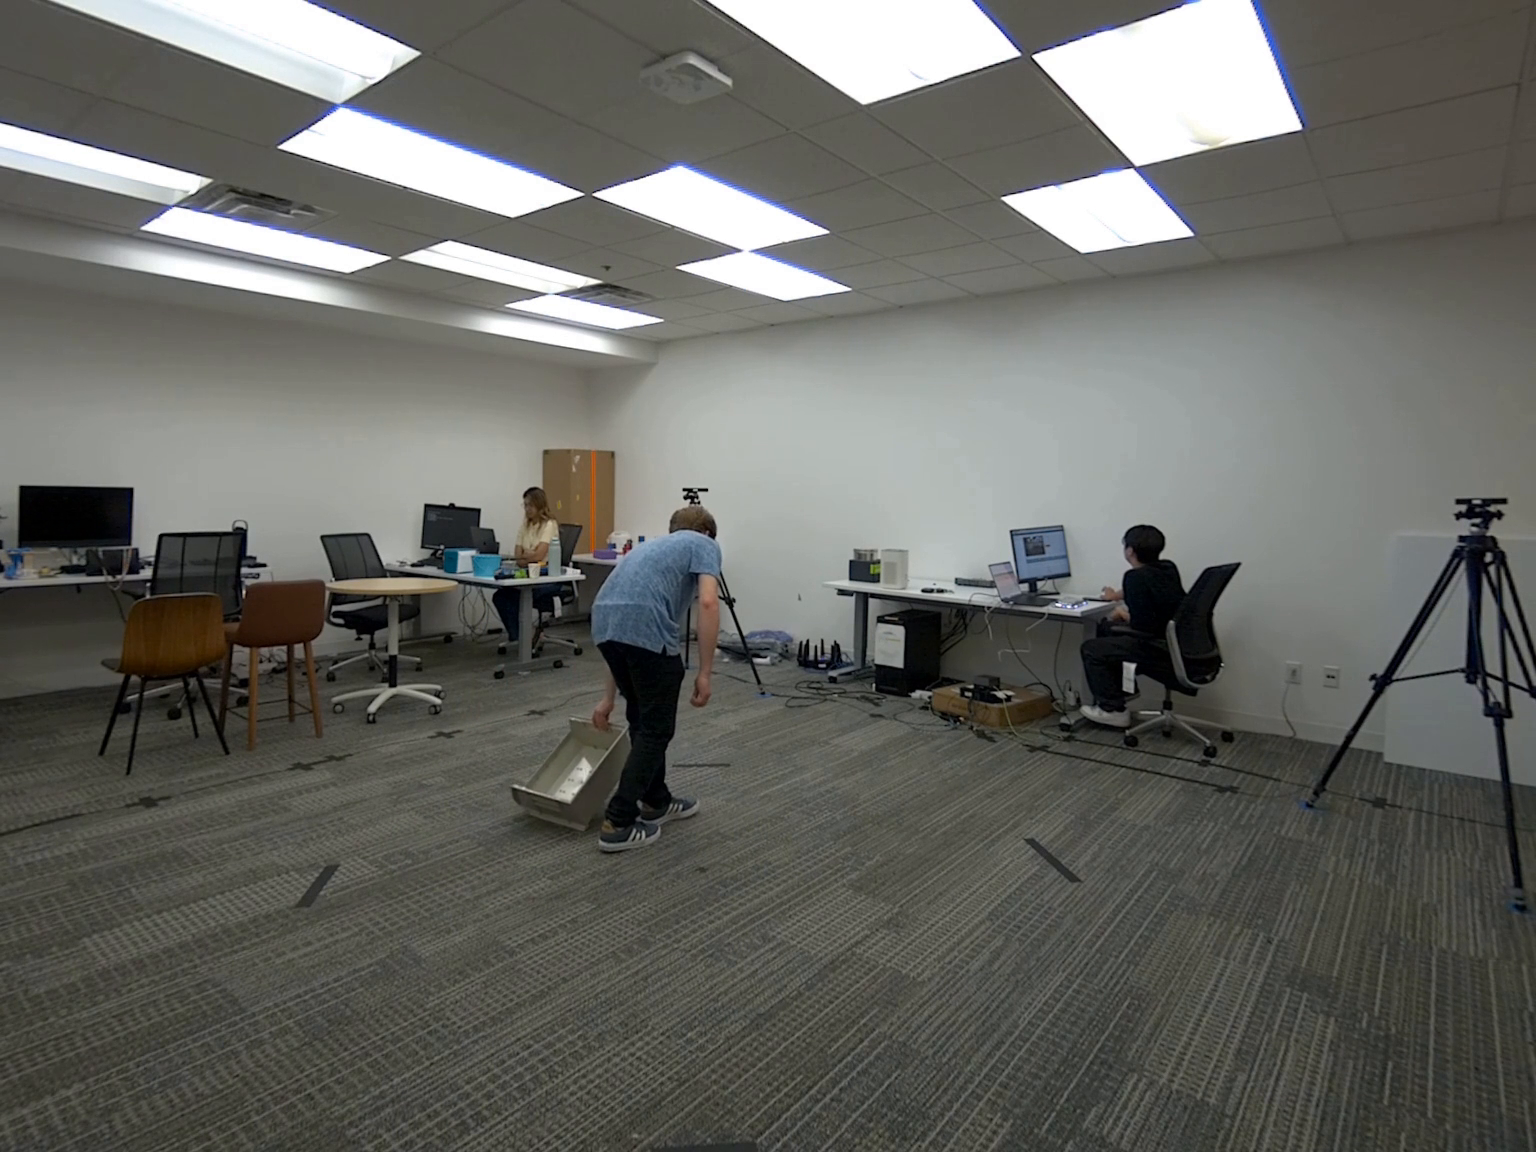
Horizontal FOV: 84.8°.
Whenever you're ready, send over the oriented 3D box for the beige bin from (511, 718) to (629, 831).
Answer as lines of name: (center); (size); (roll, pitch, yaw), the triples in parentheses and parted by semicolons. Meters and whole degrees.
beige bin: (-0.838, 0.824, 3.620); (0.389, 0.183, 0.423); (3, 37, 31)
